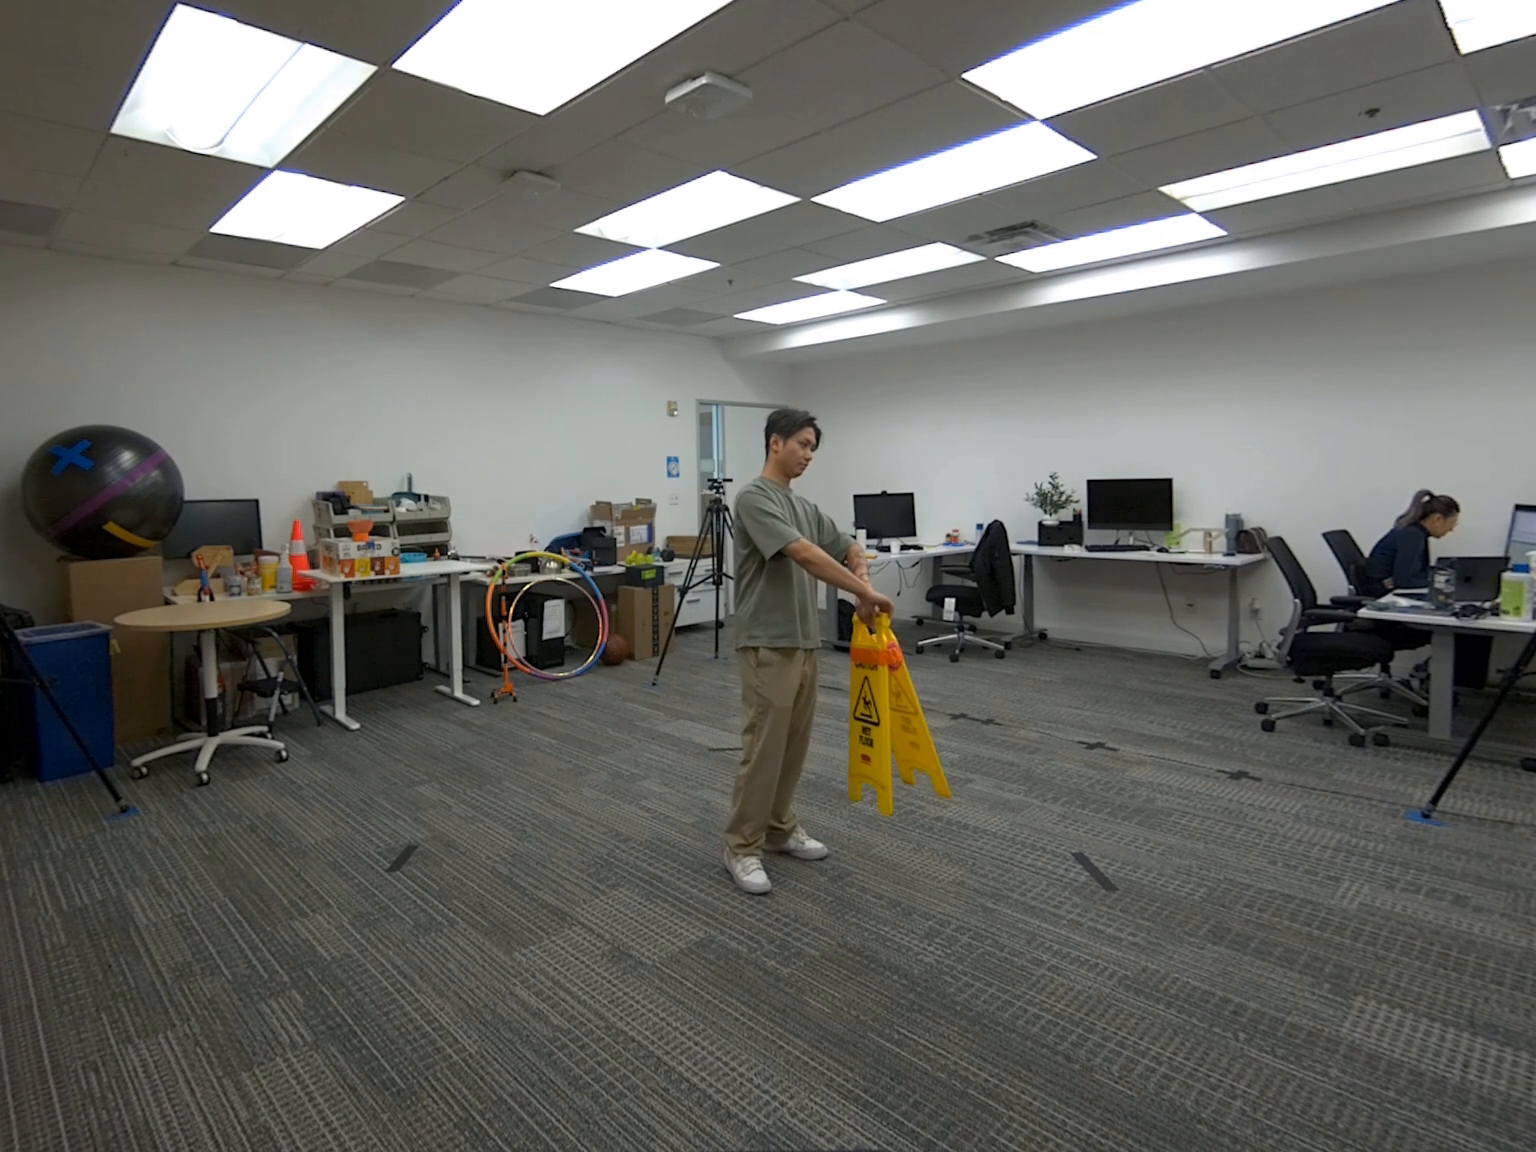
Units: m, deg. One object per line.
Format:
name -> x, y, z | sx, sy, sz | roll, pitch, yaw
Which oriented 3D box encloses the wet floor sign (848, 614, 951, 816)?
wet floor sign -> 0.401, 0.451, 2.958 | 0.285, 0.646, 0.287 | -8, 0, -22
